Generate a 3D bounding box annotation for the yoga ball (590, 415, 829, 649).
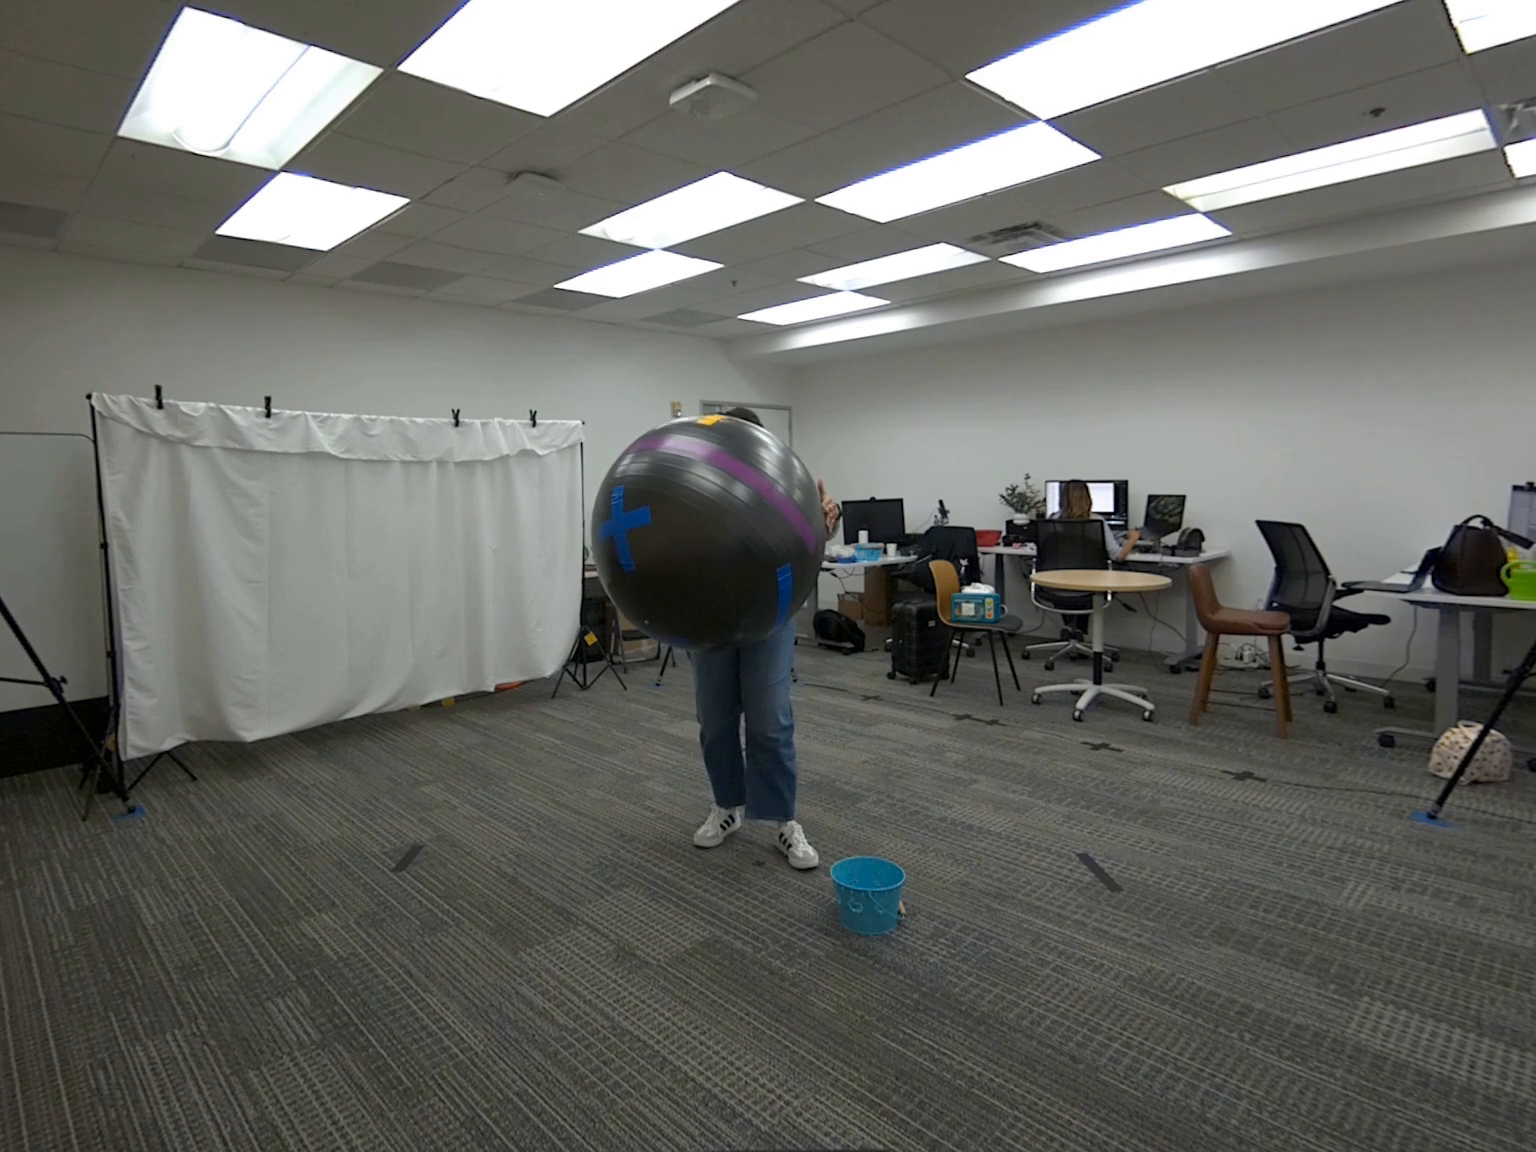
[{"bbox_3d":[-0.195,-0.134,2.753,0.757,0.755,0.762,-1,5,-2],"label":"yoga ball"}]
